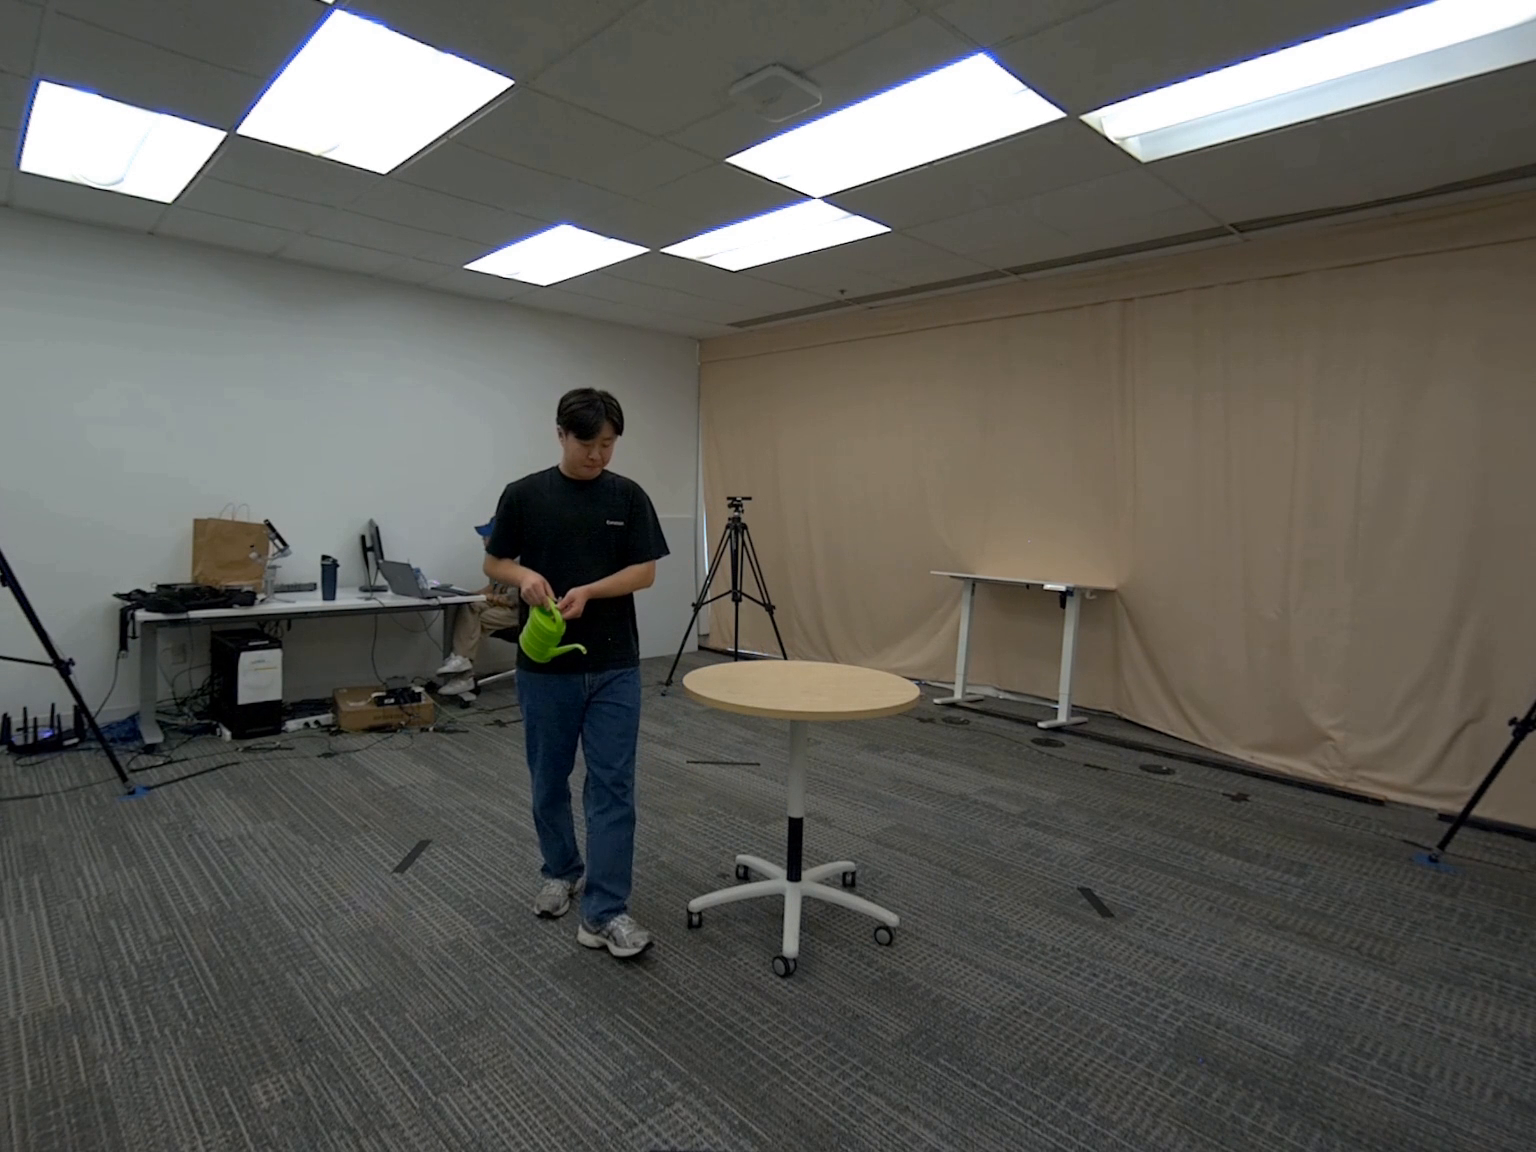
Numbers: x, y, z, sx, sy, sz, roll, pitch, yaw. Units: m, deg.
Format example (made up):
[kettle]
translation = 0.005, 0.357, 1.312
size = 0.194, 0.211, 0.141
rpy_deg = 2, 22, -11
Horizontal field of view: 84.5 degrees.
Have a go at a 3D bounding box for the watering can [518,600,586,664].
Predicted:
[watering can]
translation = -0.657, 0.190, 2.511
size = 0.095, 0.176, 0.287
rpy_deg = 9, 34, -37
